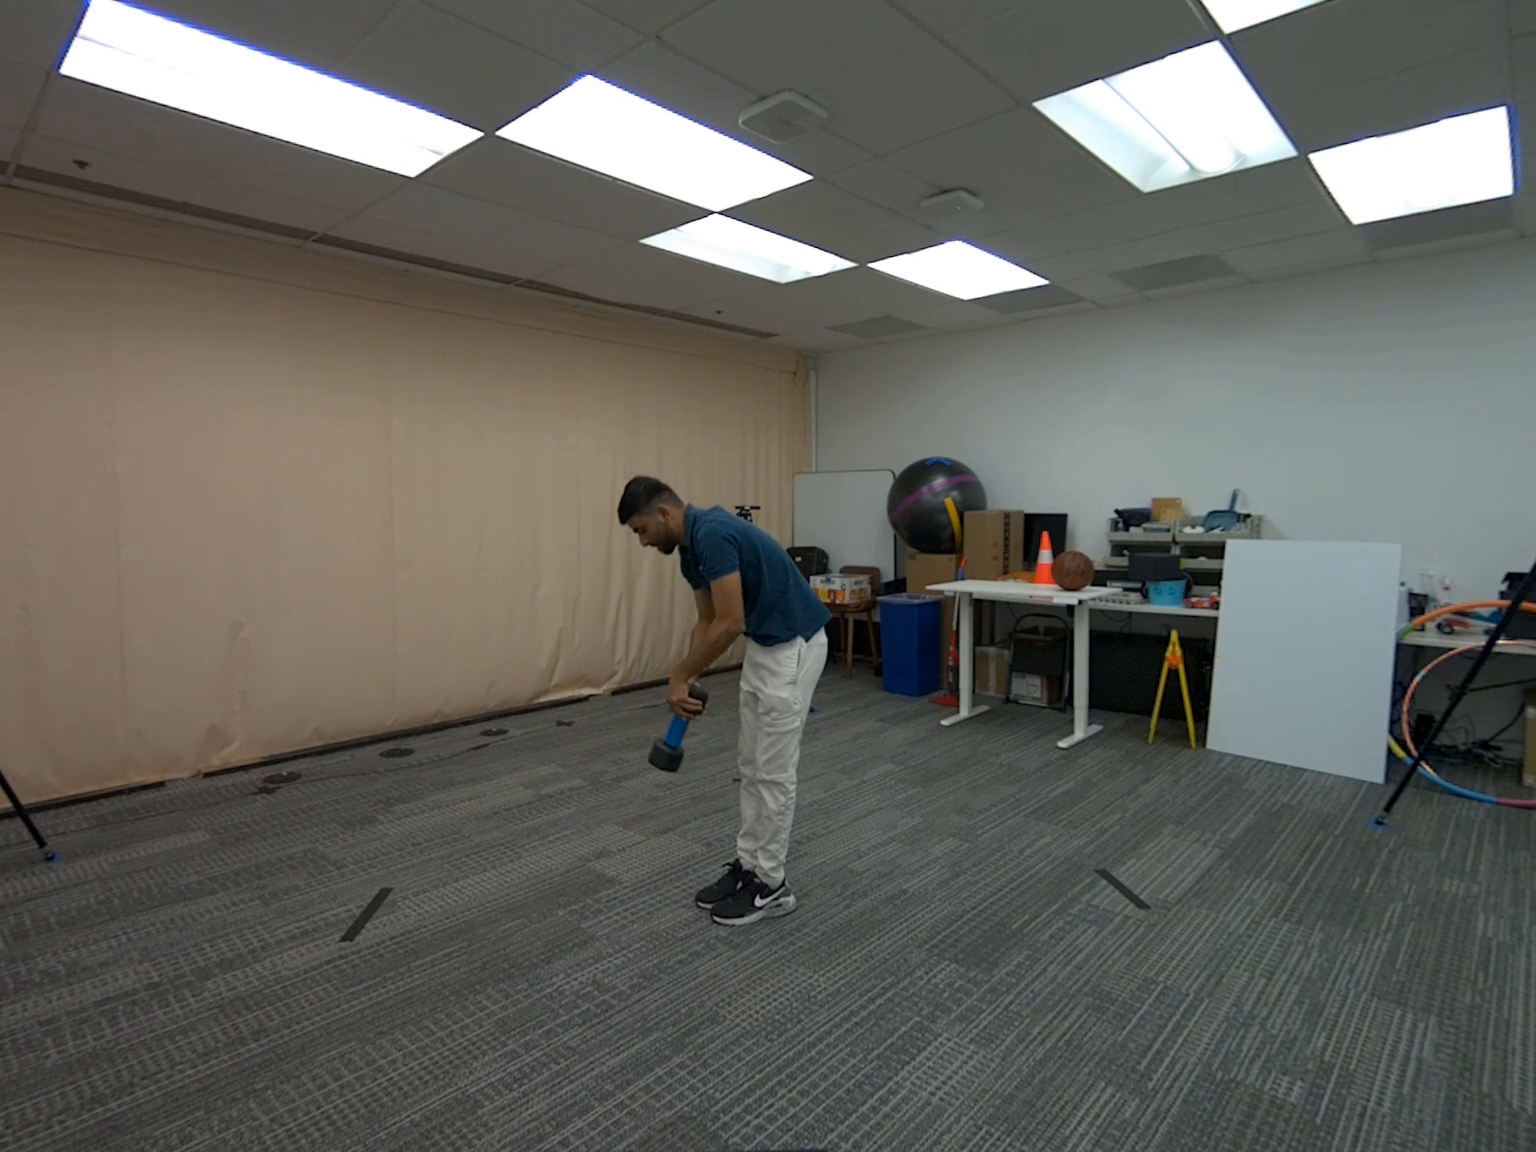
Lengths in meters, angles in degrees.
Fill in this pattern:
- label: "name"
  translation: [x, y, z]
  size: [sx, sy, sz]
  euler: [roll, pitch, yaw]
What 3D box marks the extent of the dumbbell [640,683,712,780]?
- label: "dumbbell"
  translation: [-0.308, 0.507, 2.841]
  size: [0.109, 0.293, 0.123]
  euler: [26, 4, 1]
